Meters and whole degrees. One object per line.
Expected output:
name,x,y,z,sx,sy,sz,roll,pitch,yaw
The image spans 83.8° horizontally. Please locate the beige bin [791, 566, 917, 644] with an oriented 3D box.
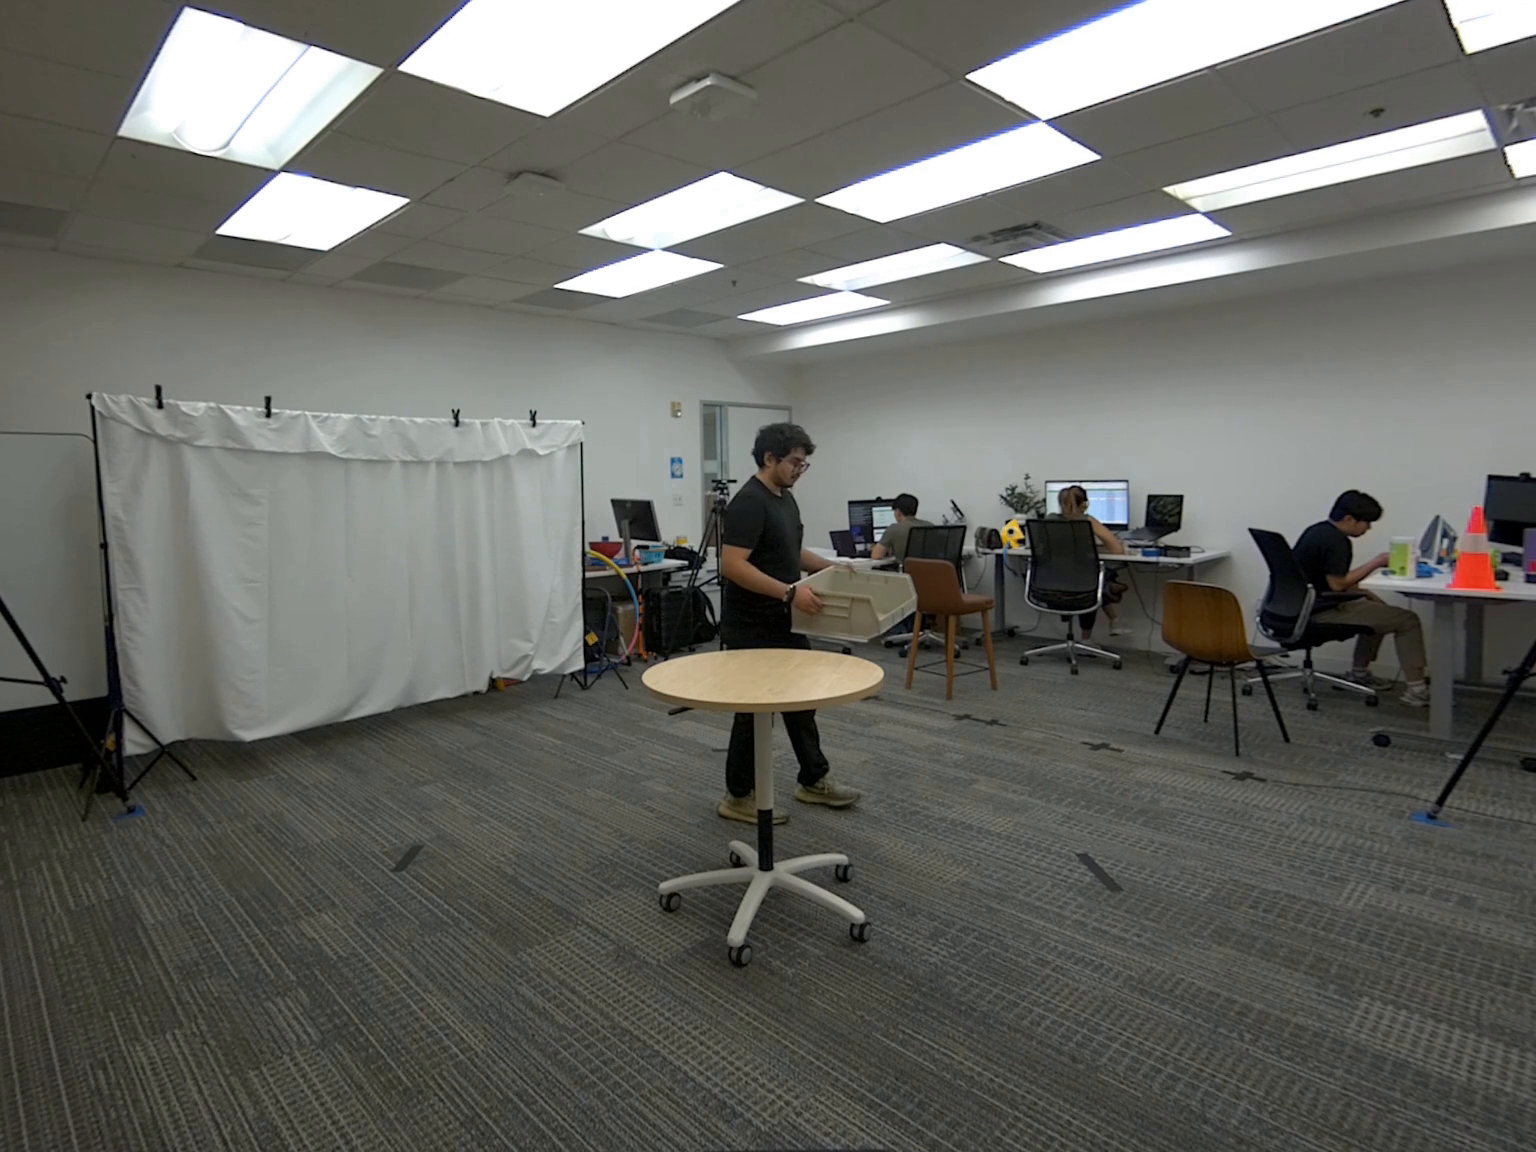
beige bin,0.338,0.102,3.360,0.387,0.187,0.415,4,13,28
